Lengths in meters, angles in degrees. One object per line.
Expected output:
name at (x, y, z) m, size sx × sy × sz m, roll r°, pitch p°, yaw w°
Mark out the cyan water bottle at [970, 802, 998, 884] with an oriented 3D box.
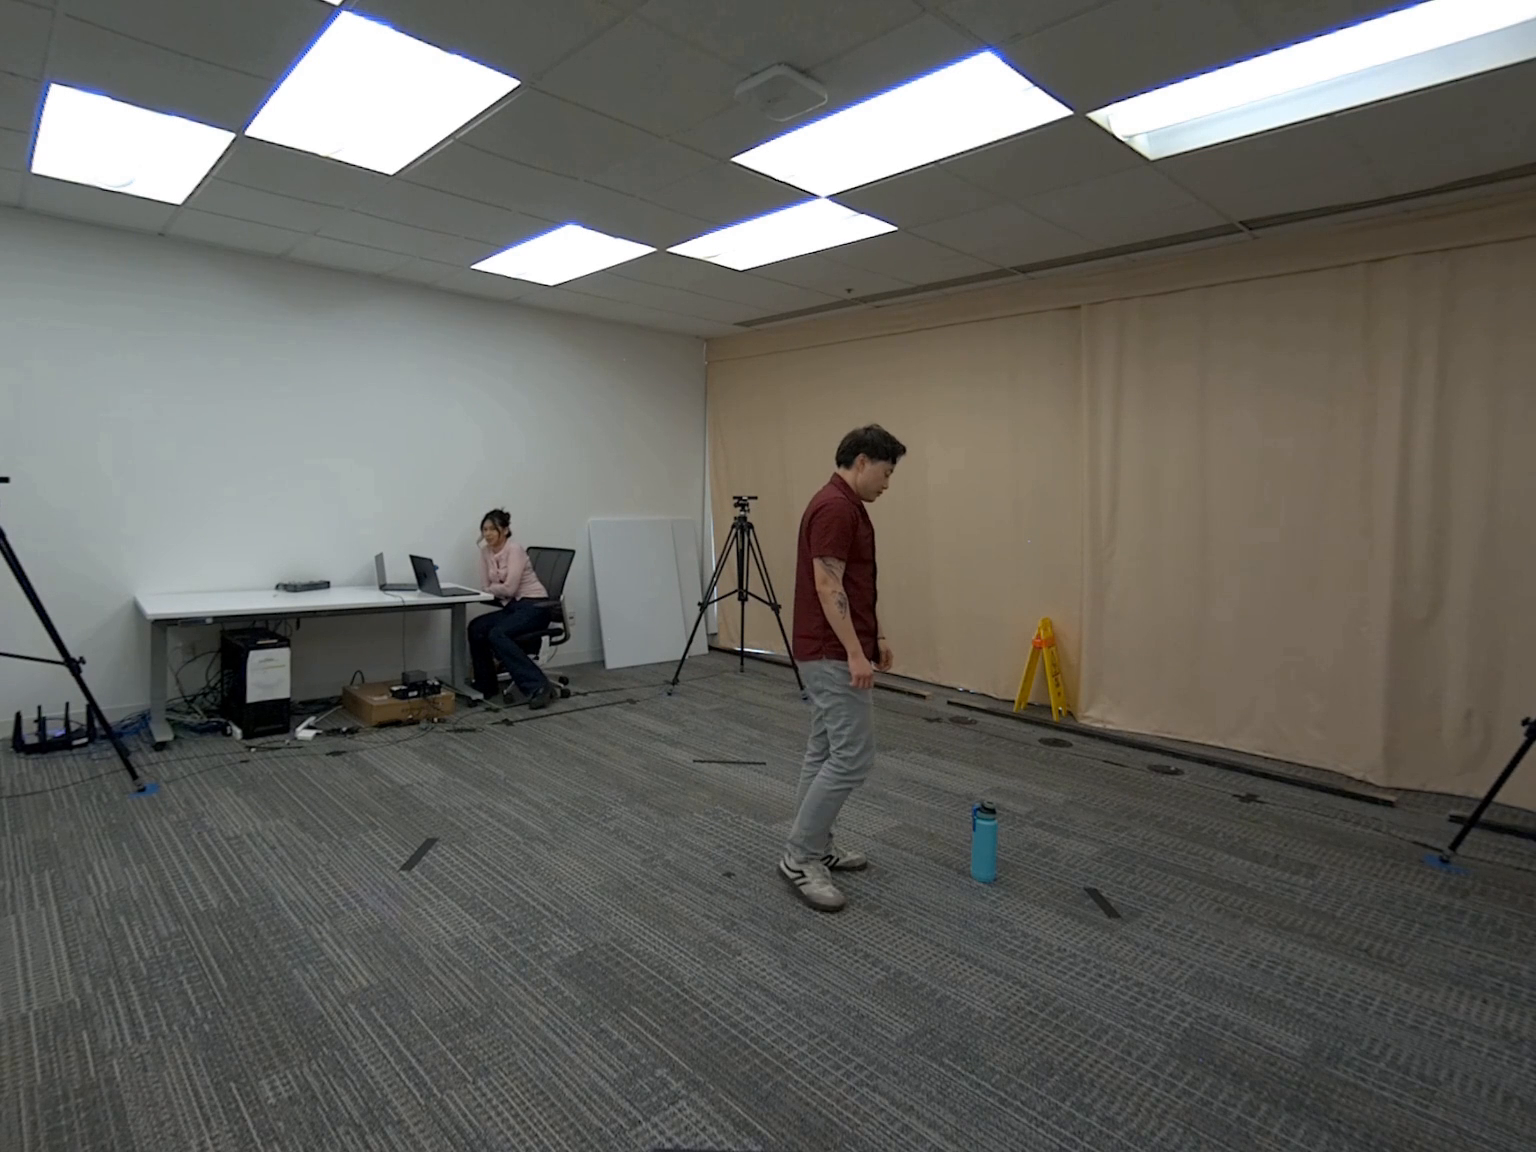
cyan water bottle at (0.796, 0.983, 3.137) m, size 0.092 × 0.283 × 0.092 m, roll 1°, pitch 3°, yaw -1°
